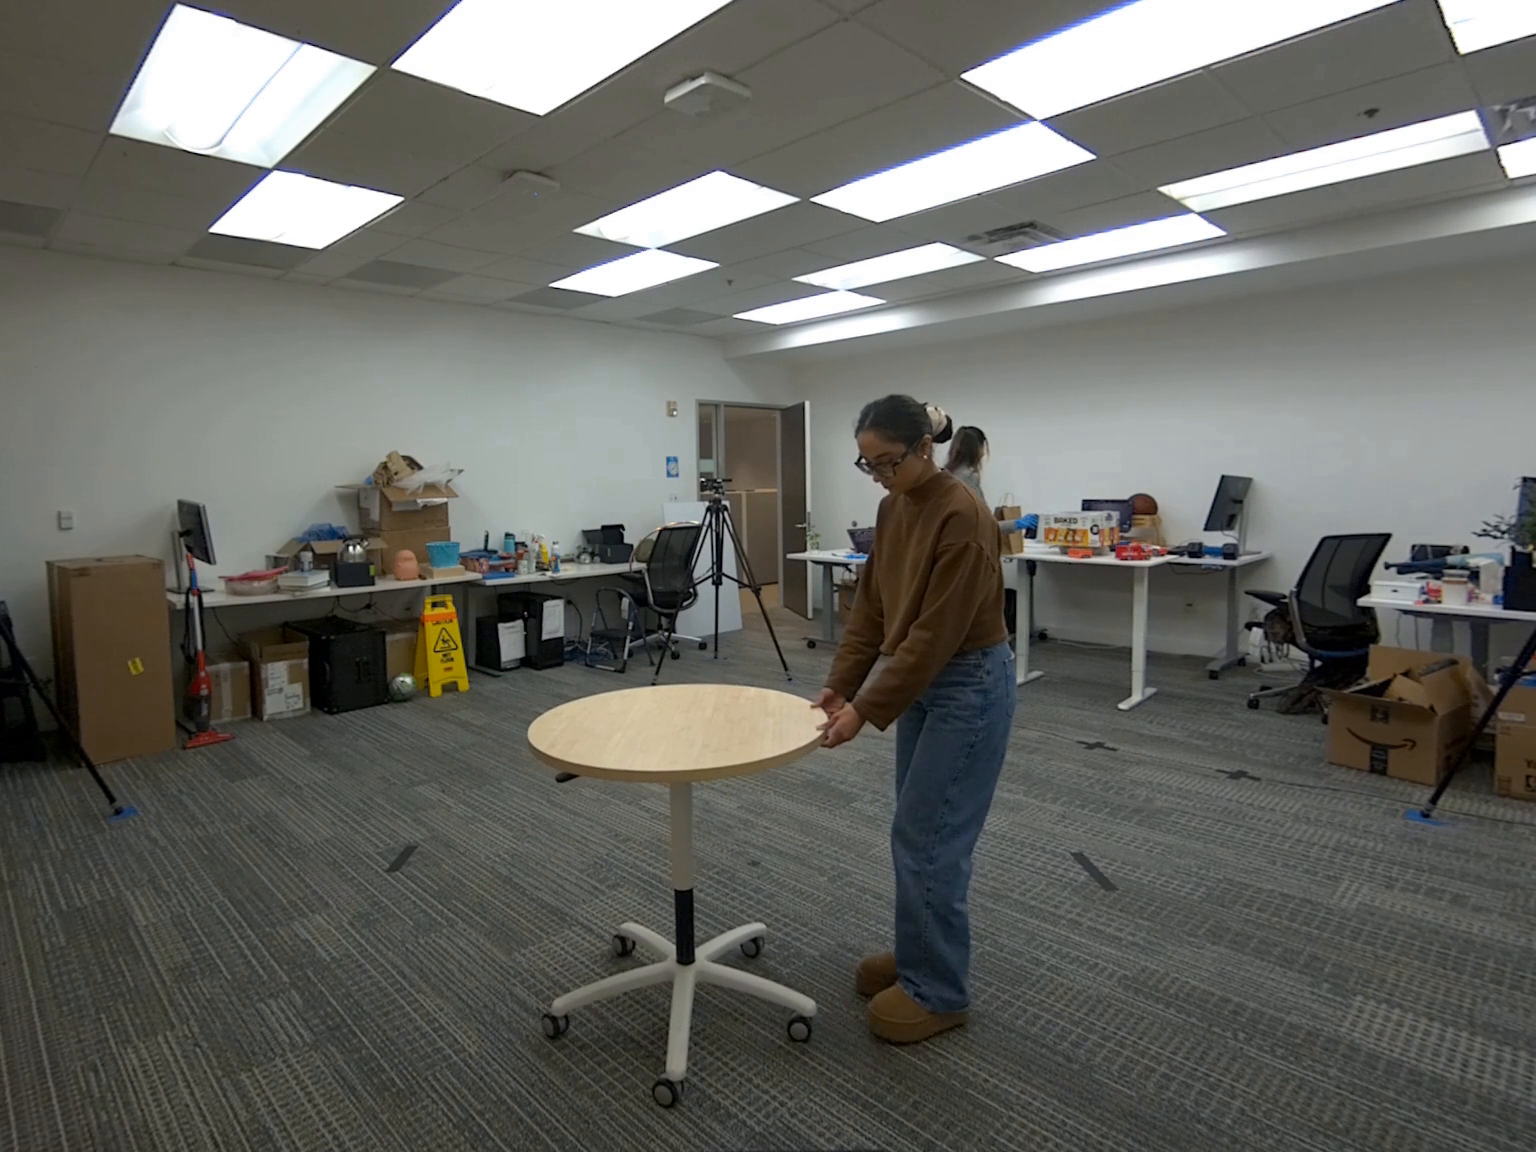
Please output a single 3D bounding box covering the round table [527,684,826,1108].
[{"bbox_3d":[-0.213,0.764,2.231,0.763,0.791,0.768,-2,5,-2],"label":"round table"}]
